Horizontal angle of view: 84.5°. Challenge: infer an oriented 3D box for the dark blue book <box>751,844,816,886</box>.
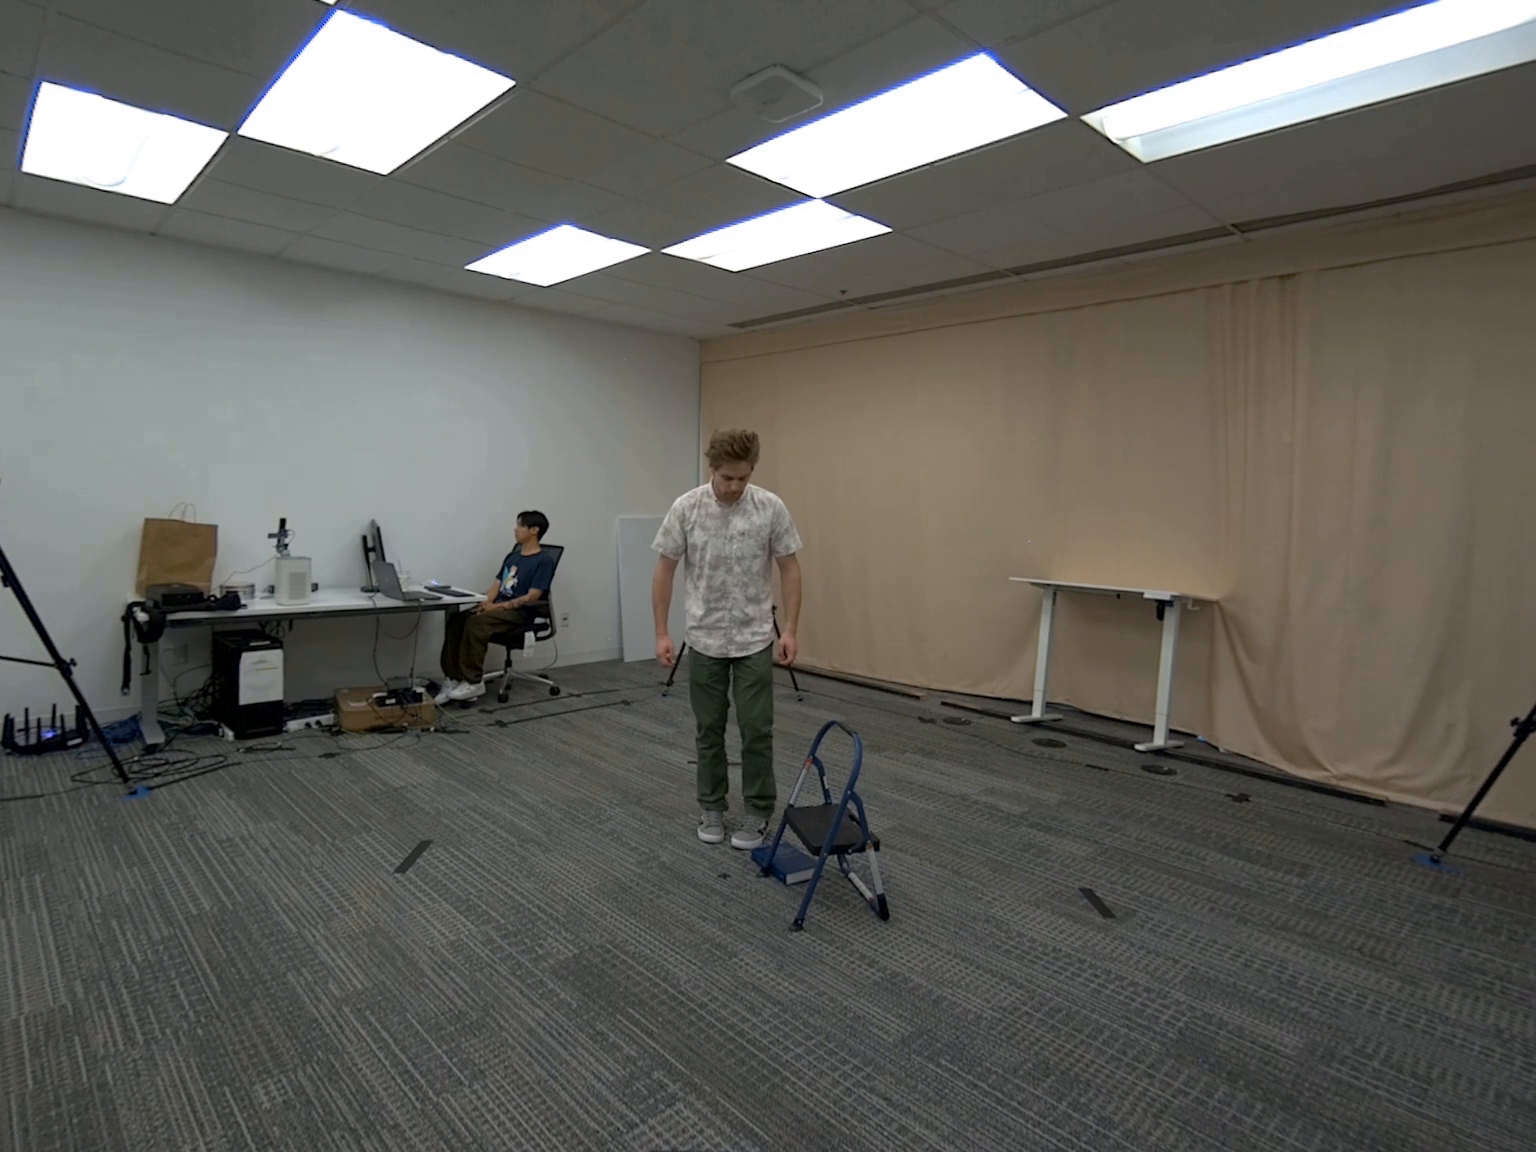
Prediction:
[{"bbox_3d":[0.061,1.086,3.180,0.160,0.045,0.251,-2,5,-32],"label":"dark blue book"}]
